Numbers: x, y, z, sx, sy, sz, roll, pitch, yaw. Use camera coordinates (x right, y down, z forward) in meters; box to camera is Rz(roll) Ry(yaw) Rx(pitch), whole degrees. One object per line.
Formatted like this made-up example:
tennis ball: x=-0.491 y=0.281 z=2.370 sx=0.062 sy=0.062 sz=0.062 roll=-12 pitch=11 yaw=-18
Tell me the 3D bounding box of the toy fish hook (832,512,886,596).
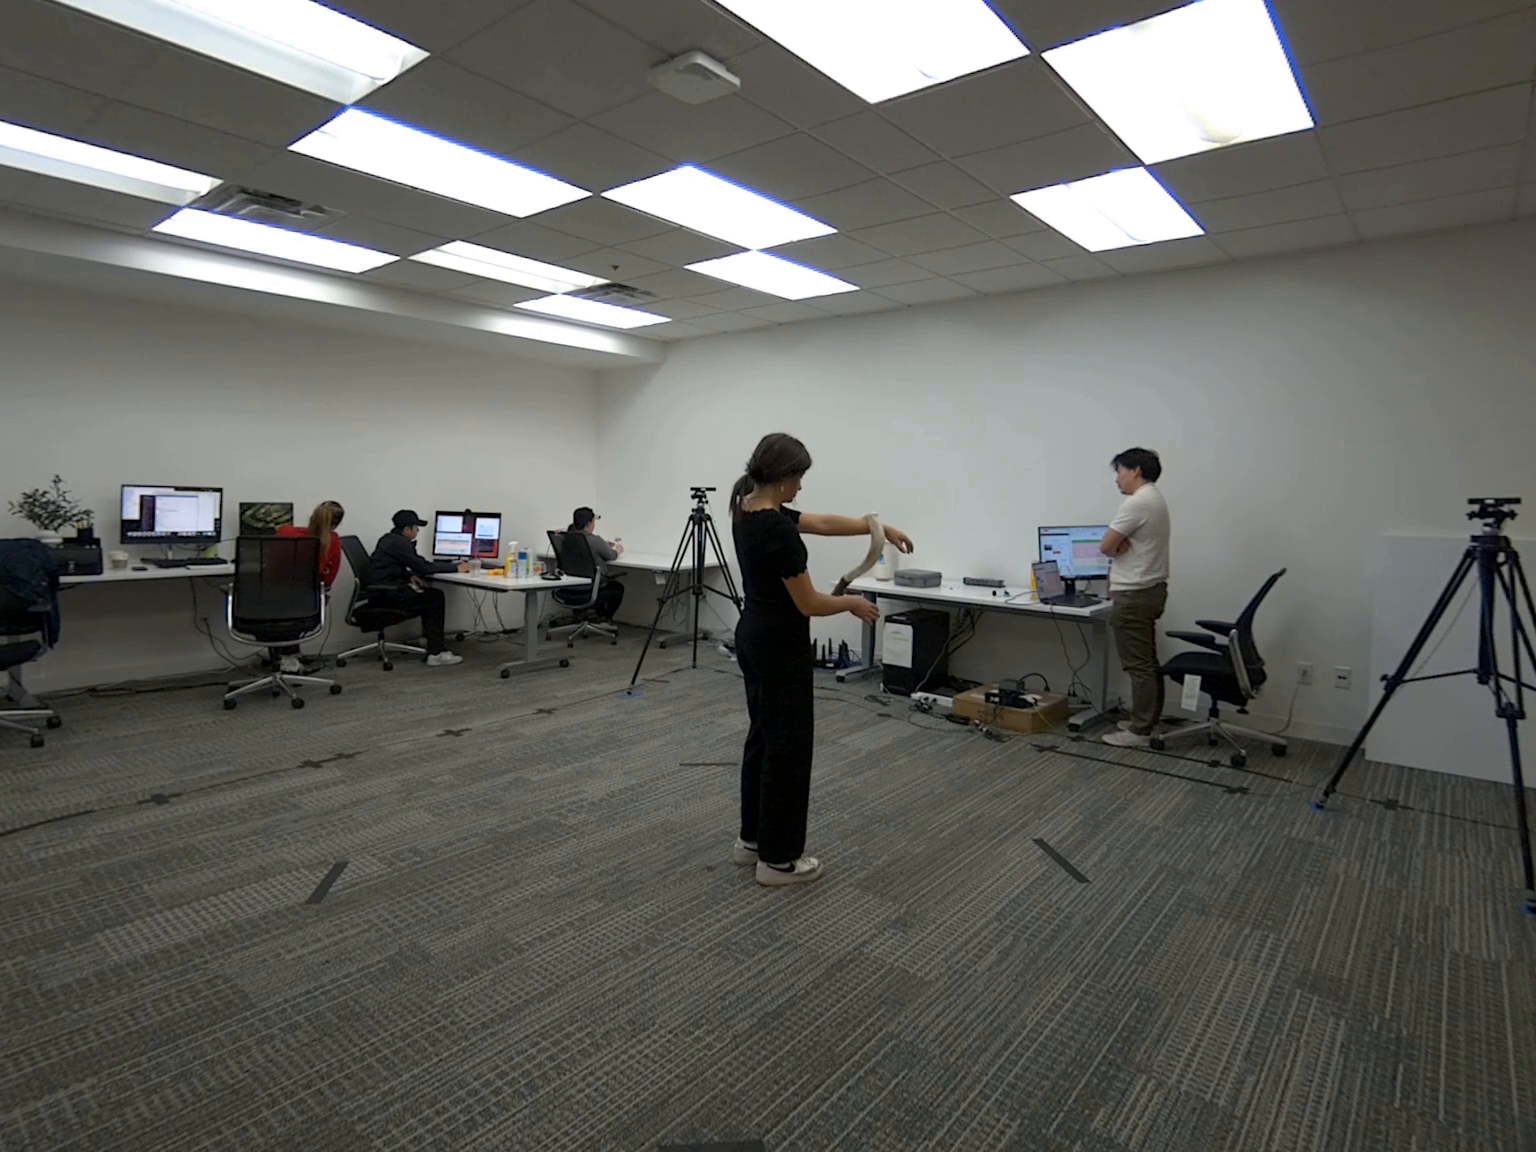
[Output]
toy fish hook: x=0.328 y=-0.056 z=3.358 sx=0.047 sy=0.231 sz=0.501 roll=9 pitch=-39 yaw=-19
